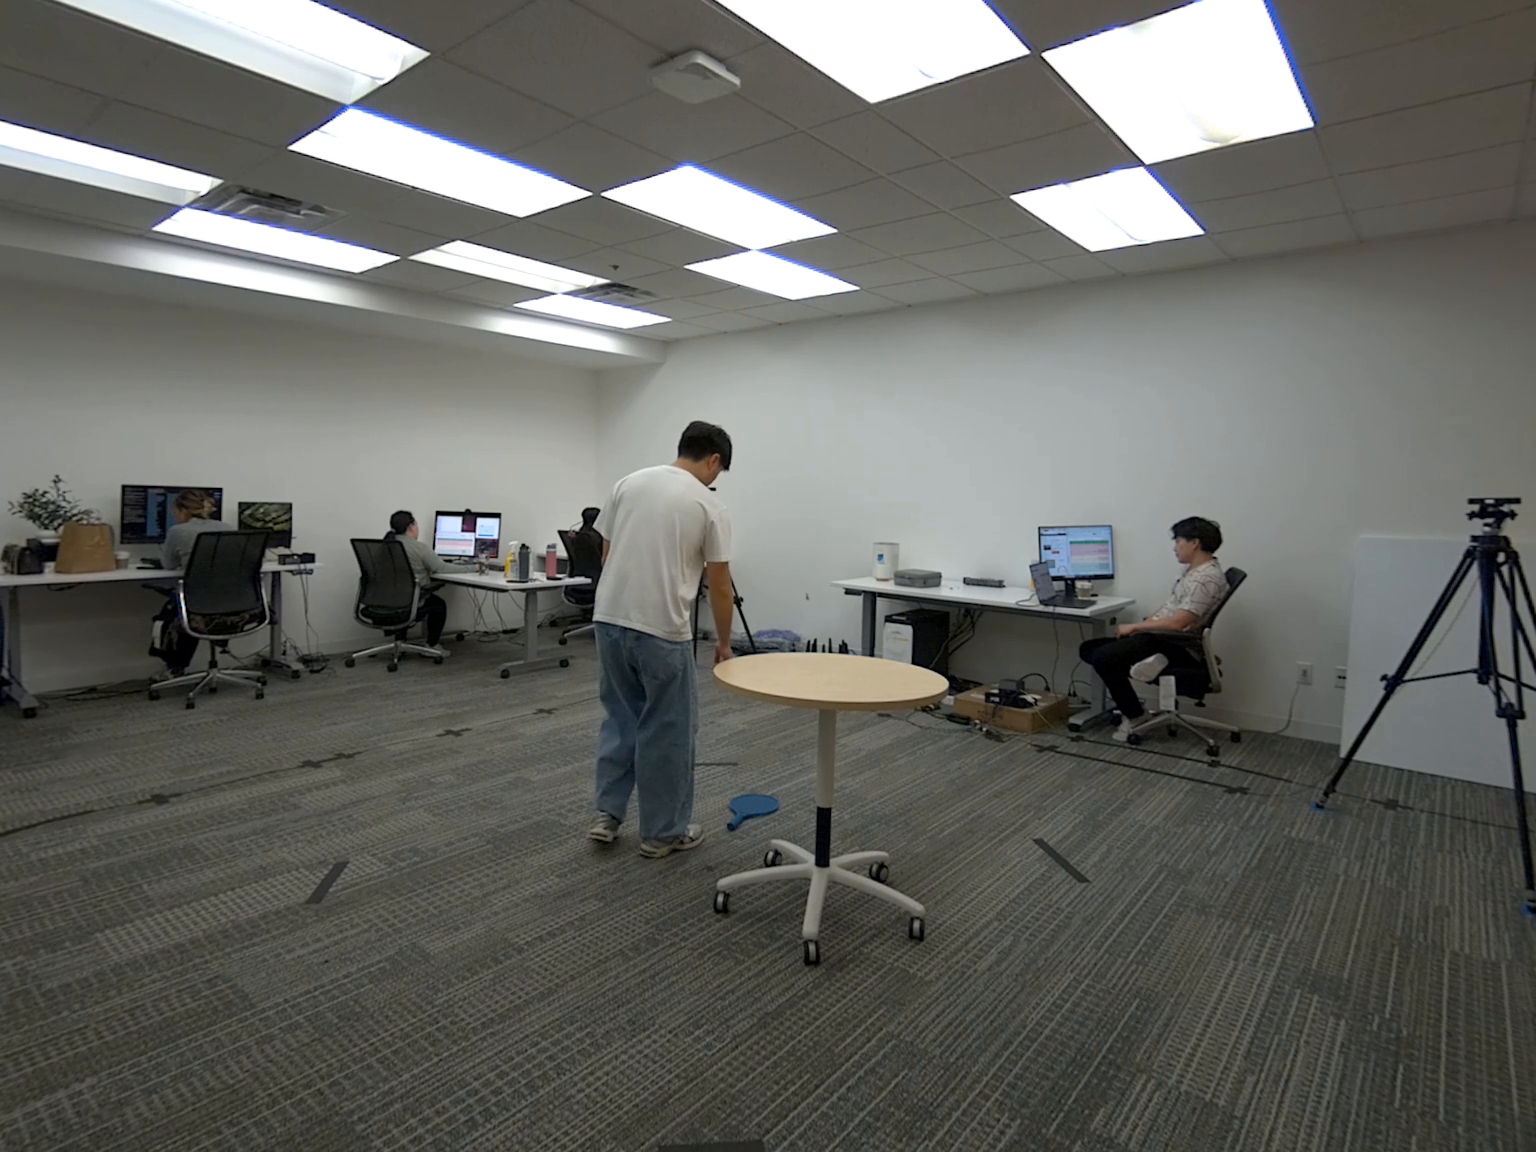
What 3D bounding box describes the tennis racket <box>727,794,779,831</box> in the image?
[{"bbox_3d":[-0.098,1.001,3.652,0.218,0.032,0.424,2,4,21],"label":"tennis racket"}]
